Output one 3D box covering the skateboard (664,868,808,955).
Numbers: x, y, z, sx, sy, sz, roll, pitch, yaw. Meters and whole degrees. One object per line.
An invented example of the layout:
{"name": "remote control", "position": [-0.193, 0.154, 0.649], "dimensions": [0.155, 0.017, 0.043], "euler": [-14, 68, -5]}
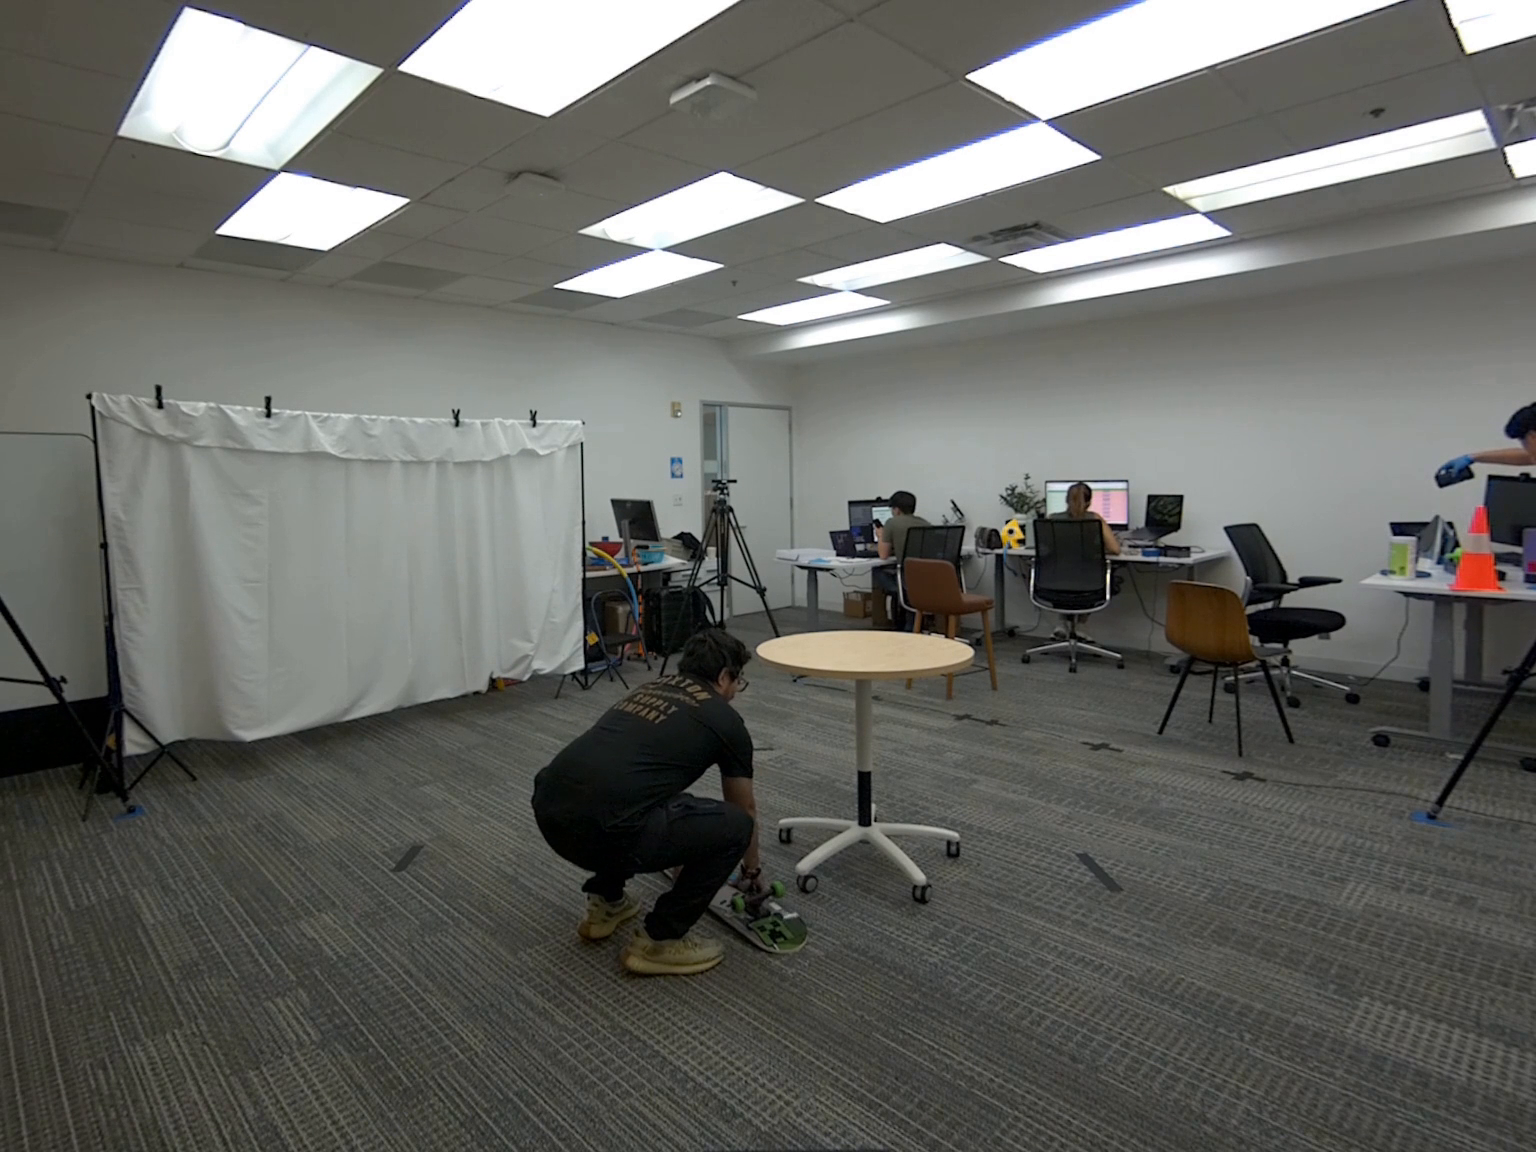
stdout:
{"name": "skateboard", "position": [-0.147, 1.021, 2.850], "dimensions": [0.189, 0.109, 0.809], "euler": [-11, 11, -34]}
